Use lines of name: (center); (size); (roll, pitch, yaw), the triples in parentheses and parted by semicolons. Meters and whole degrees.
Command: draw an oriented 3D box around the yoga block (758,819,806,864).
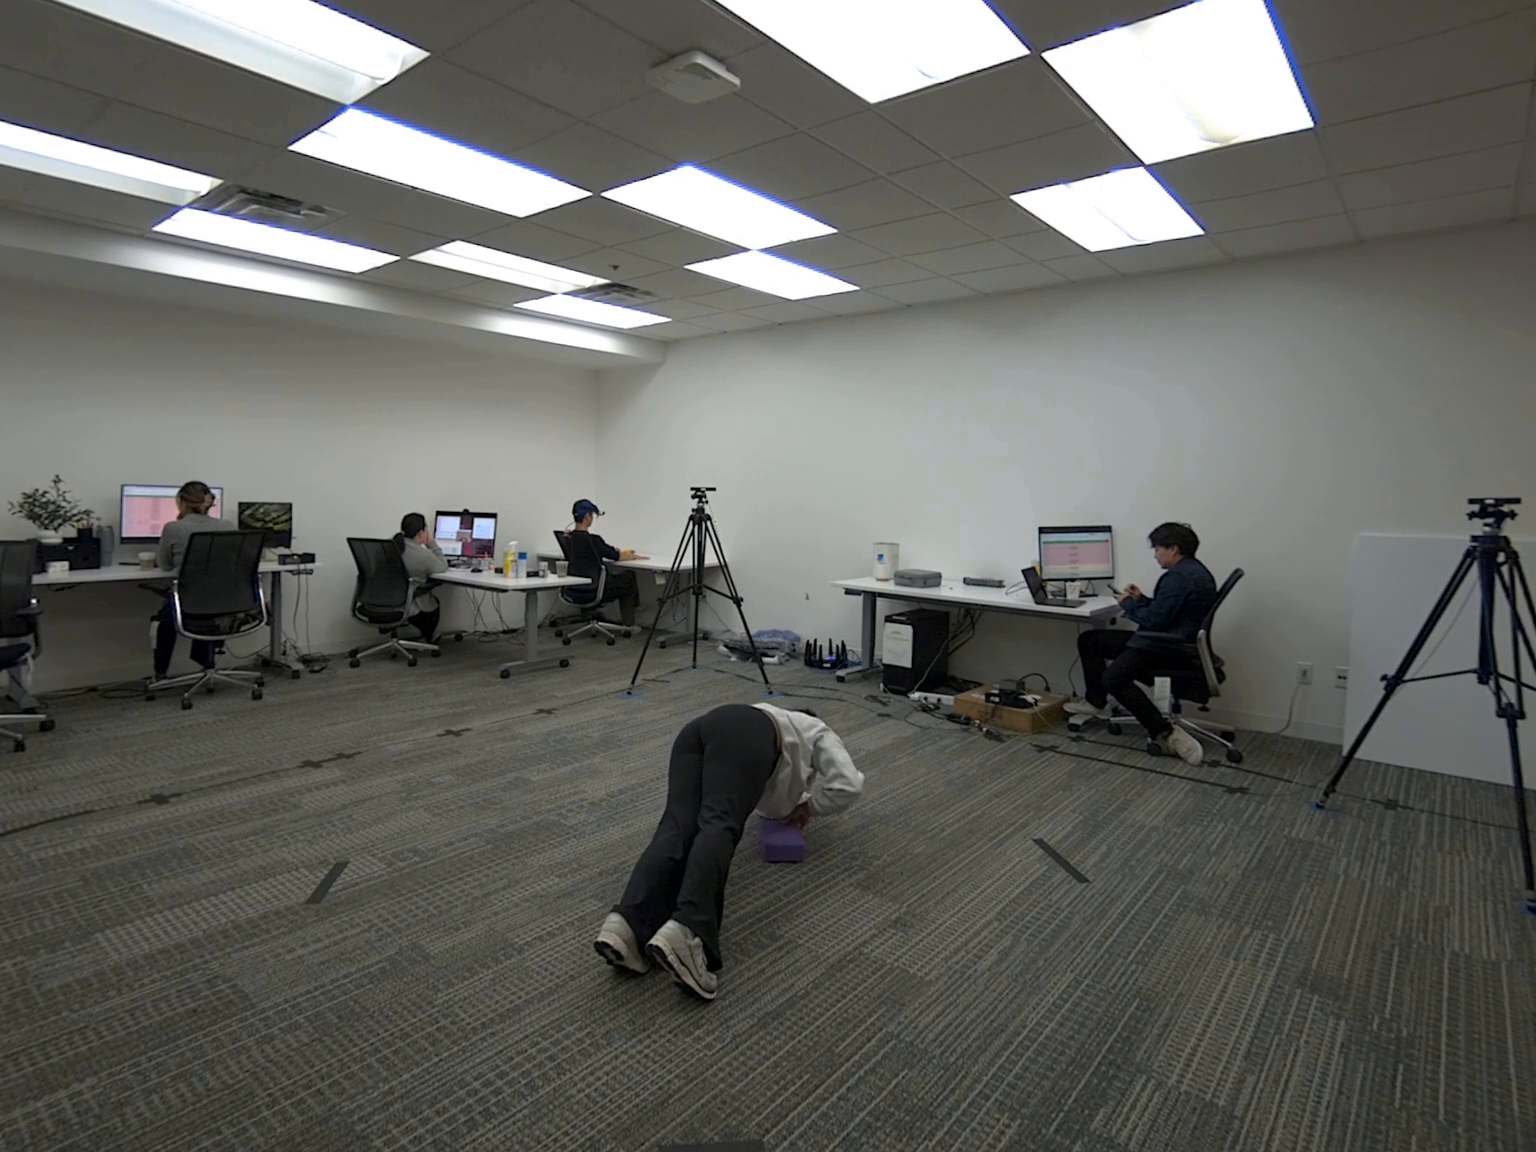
yoga block: (0.037, 1.013, 3.282); (0.148, 0.076, 0.231); (1, 5, -5)
